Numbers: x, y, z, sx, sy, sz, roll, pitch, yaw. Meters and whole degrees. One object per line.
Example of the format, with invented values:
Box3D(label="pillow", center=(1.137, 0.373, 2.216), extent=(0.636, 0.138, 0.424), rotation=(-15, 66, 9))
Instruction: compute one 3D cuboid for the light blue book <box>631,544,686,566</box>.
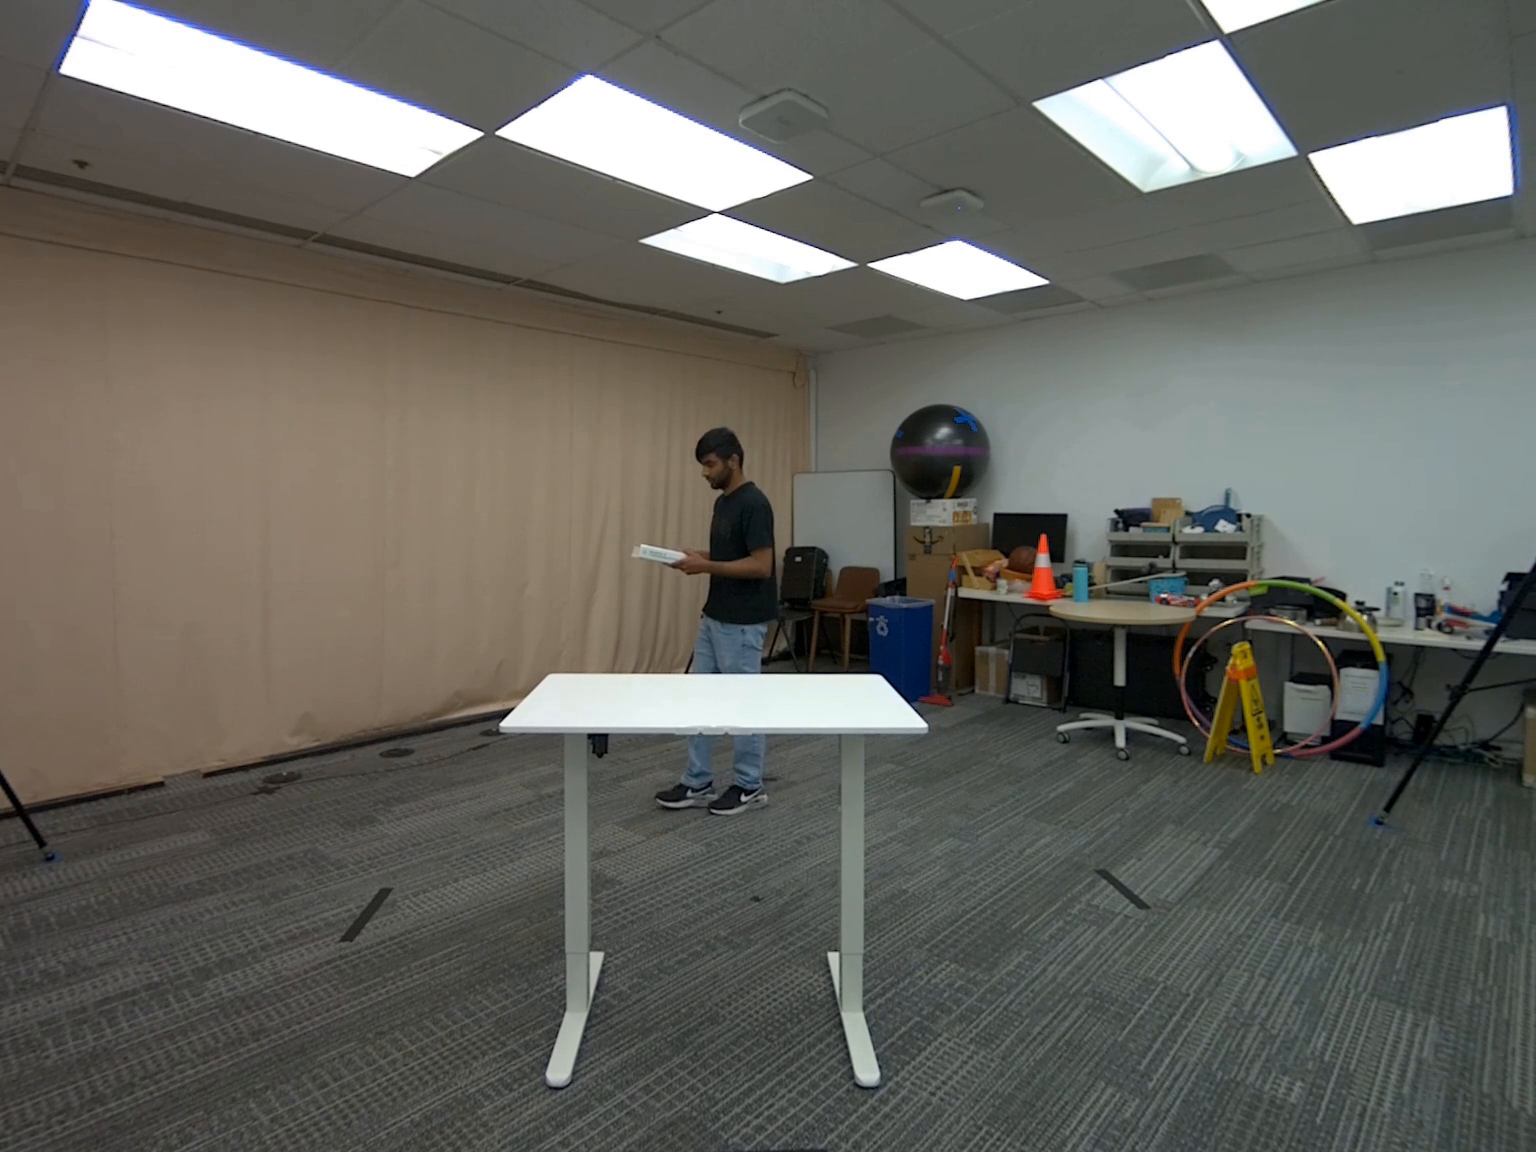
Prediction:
Box3D(label="light blue book", center=(-0.460, -0.087, 3.750), extent=(0.256, 0.059, 0.195), rotation=(12, -1, -16))
